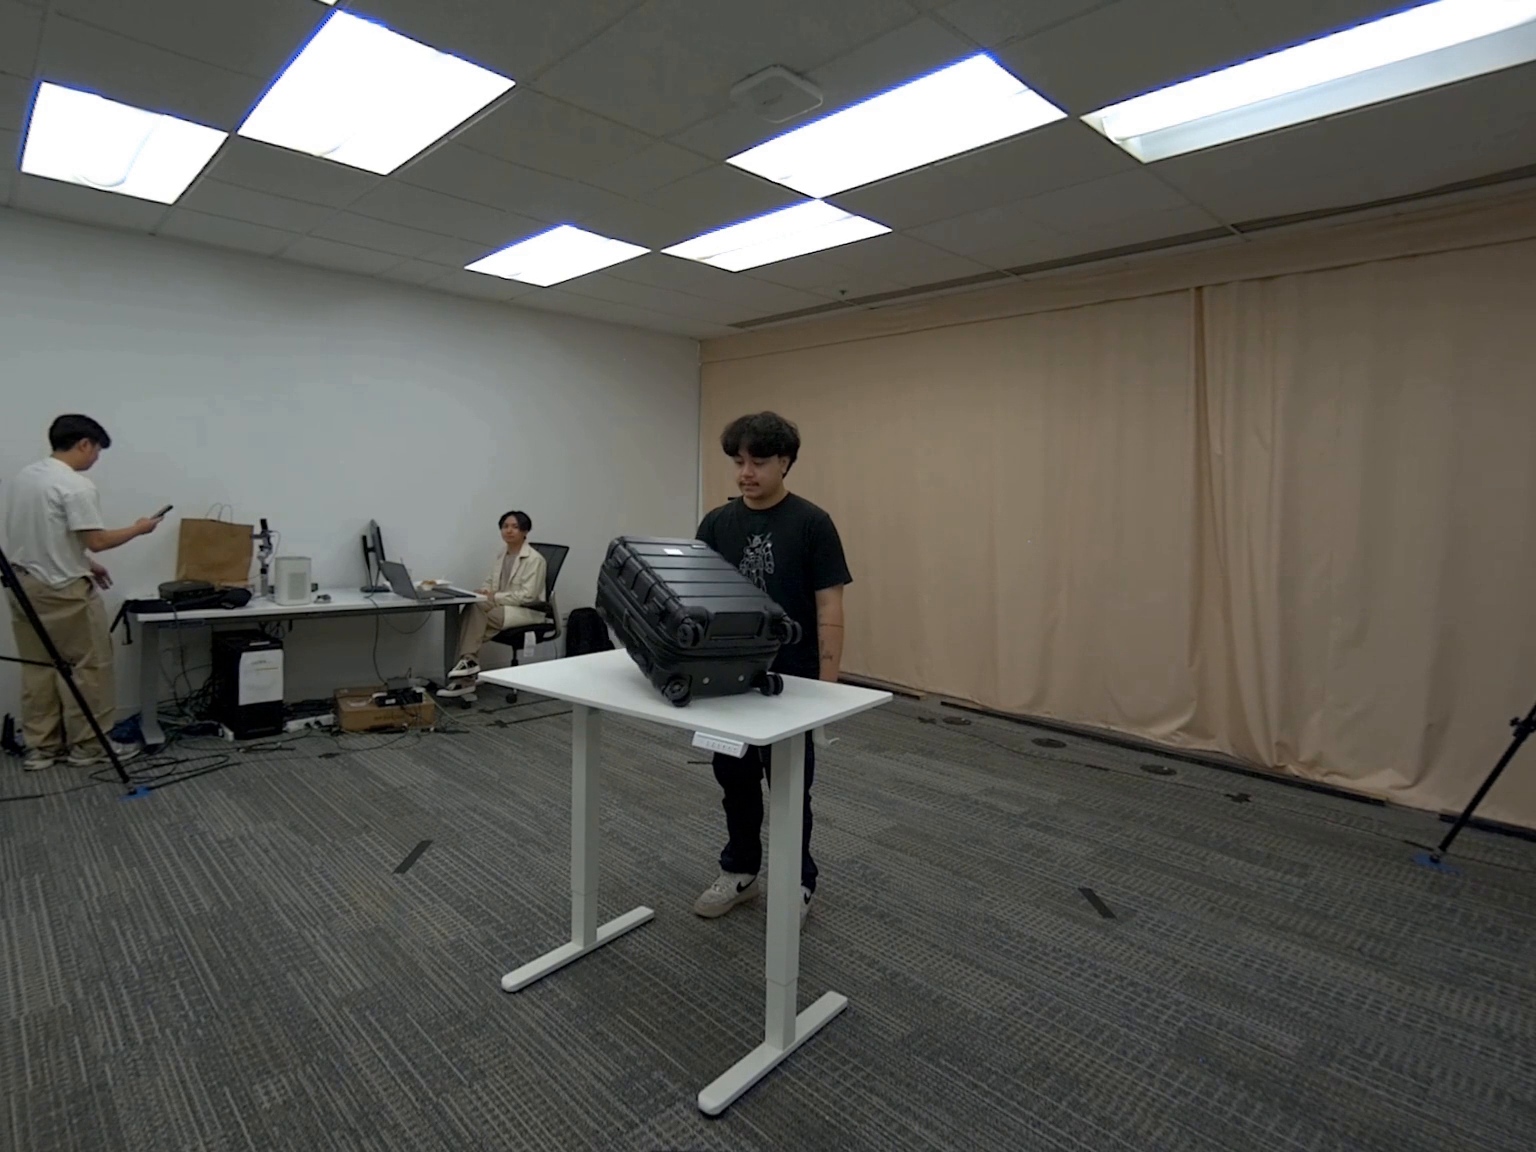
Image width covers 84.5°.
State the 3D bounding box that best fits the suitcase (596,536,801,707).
[{"bbox_3d":[-0.227,0.103,2.263,0.367,0.246,0.567,1,25,-36],"label":"suitcase"}]
